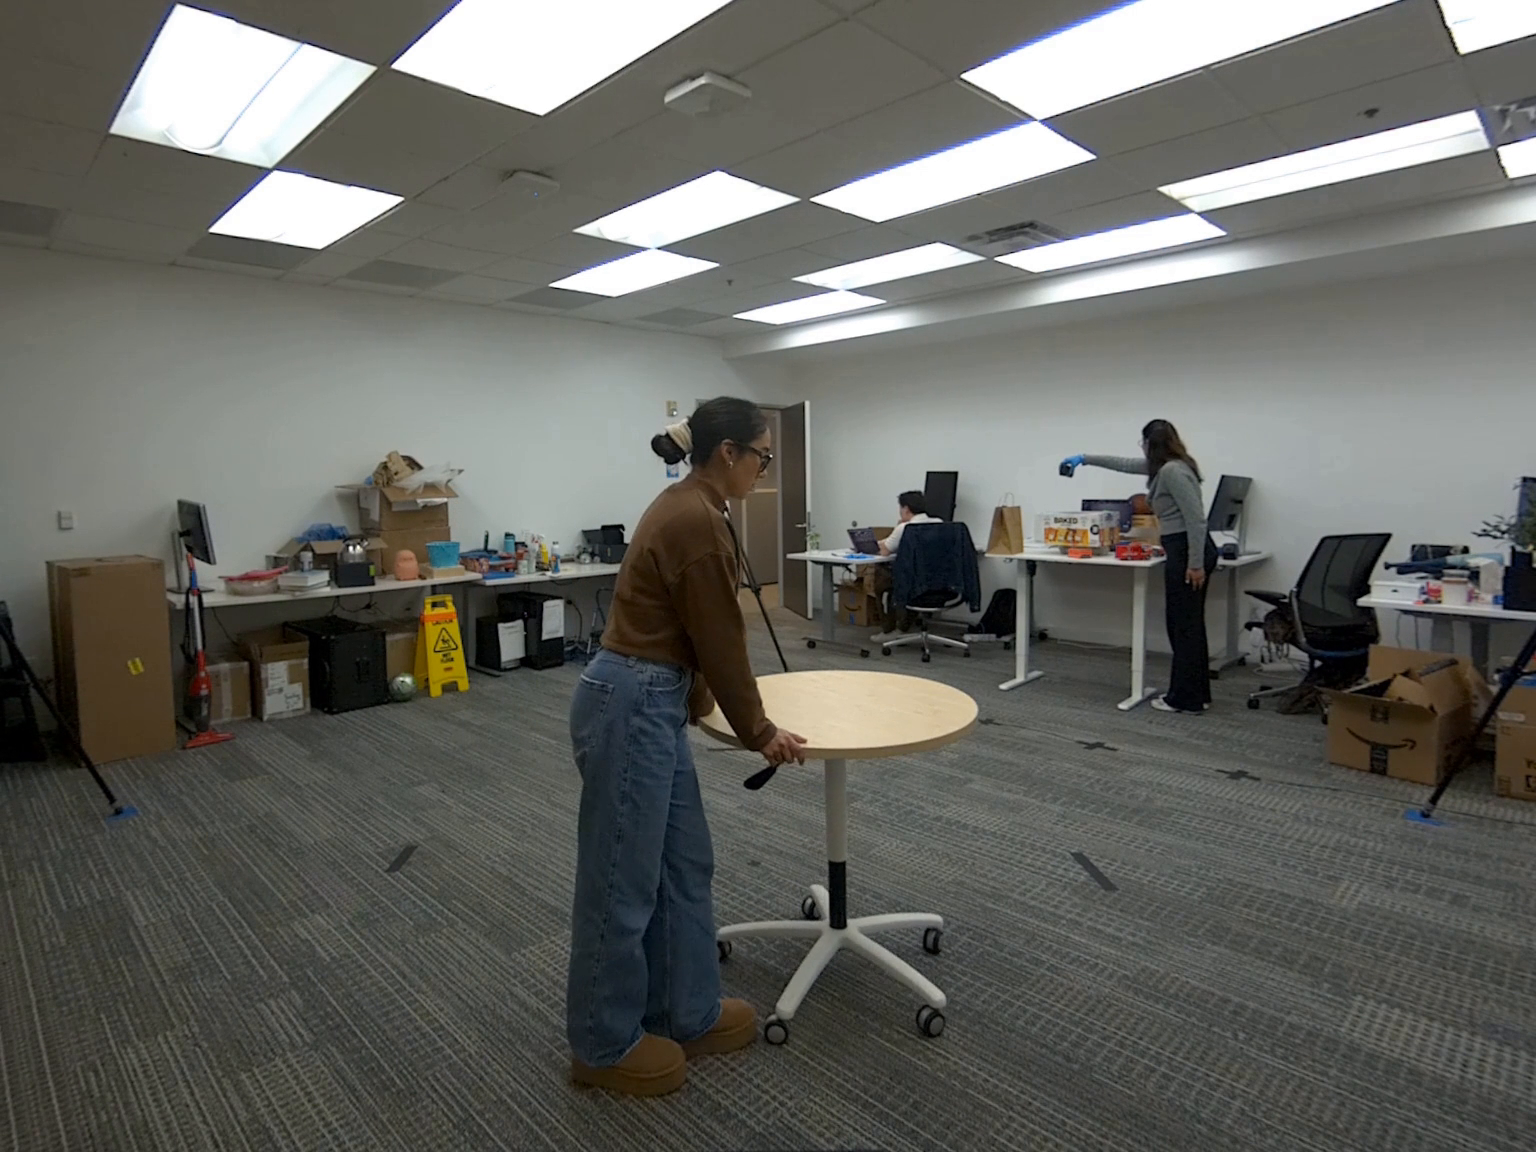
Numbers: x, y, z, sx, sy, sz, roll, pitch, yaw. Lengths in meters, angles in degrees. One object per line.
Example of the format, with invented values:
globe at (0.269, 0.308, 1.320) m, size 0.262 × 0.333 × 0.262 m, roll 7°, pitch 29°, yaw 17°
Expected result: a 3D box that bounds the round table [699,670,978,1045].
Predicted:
round table at (0.196, 0.742, 2.379) m, size 0.763 × 0.790 × 0.768 m, roll -2°, pitch 6°, yaw -1°
